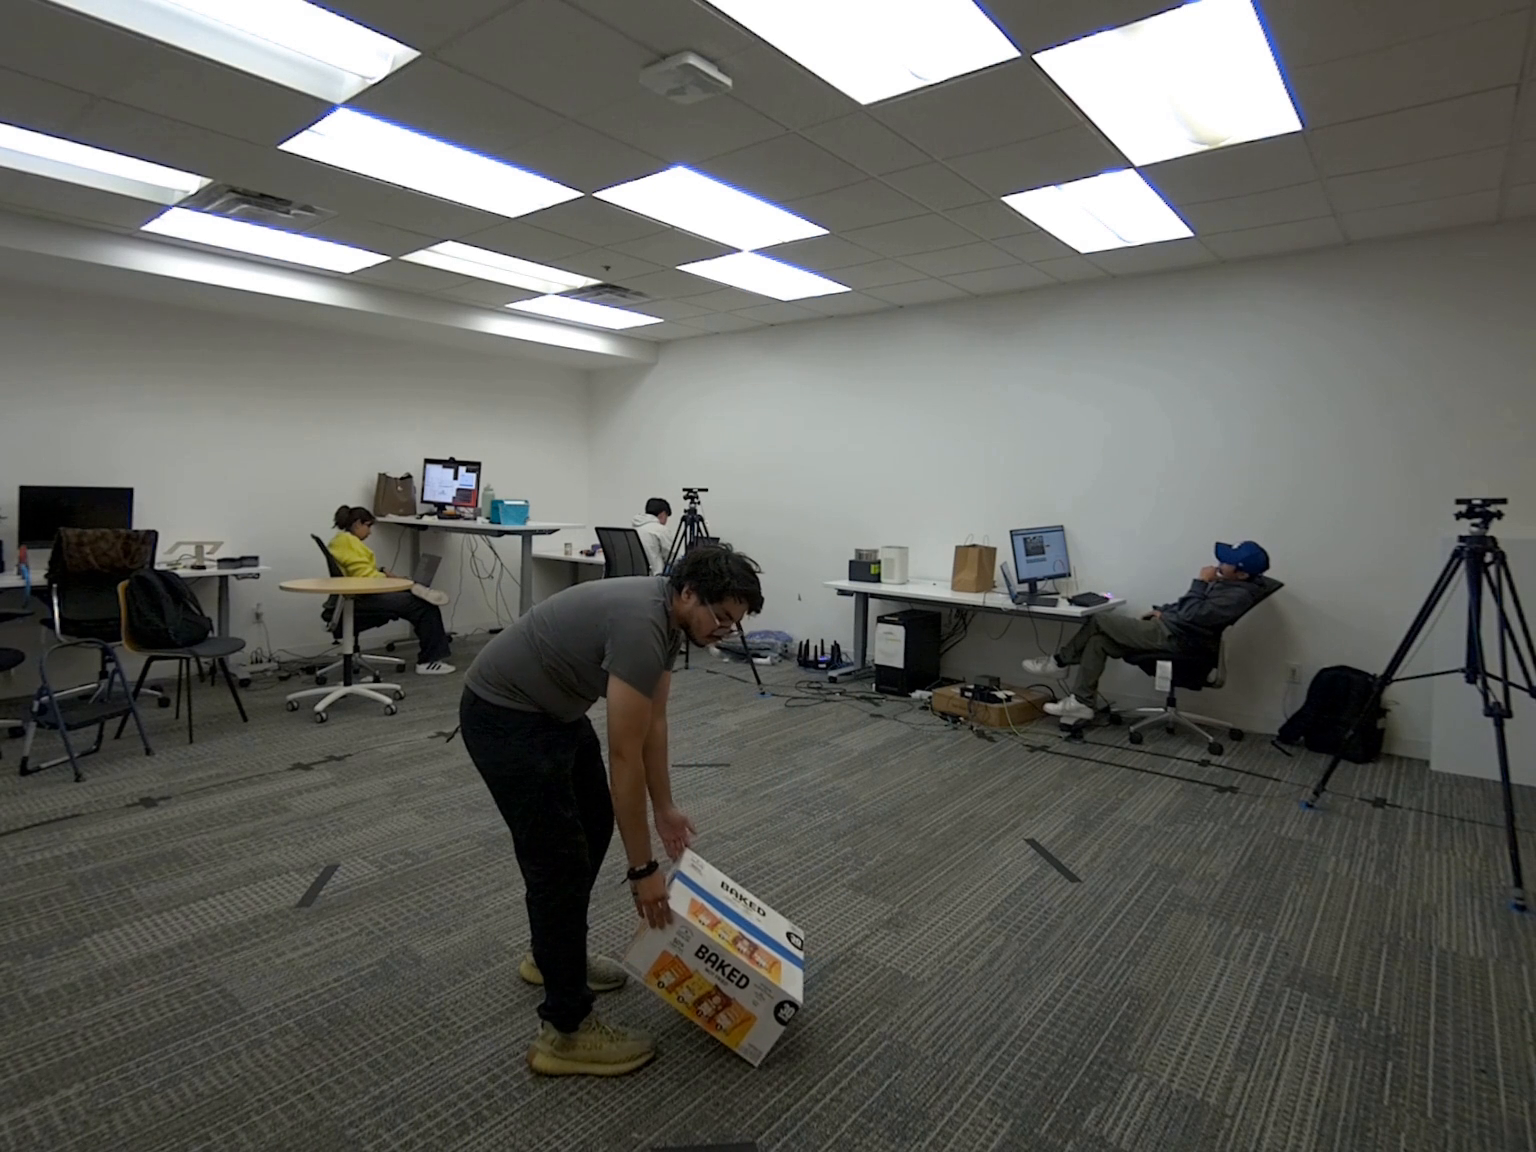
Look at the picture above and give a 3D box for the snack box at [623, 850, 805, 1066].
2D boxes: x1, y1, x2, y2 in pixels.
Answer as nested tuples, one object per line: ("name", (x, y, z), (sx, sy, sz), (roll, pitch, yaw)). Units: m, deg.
("snack box", (-0.136, 0.969, 2.205), (0.407, 0.205, 0.339), (34, 6, 3))
